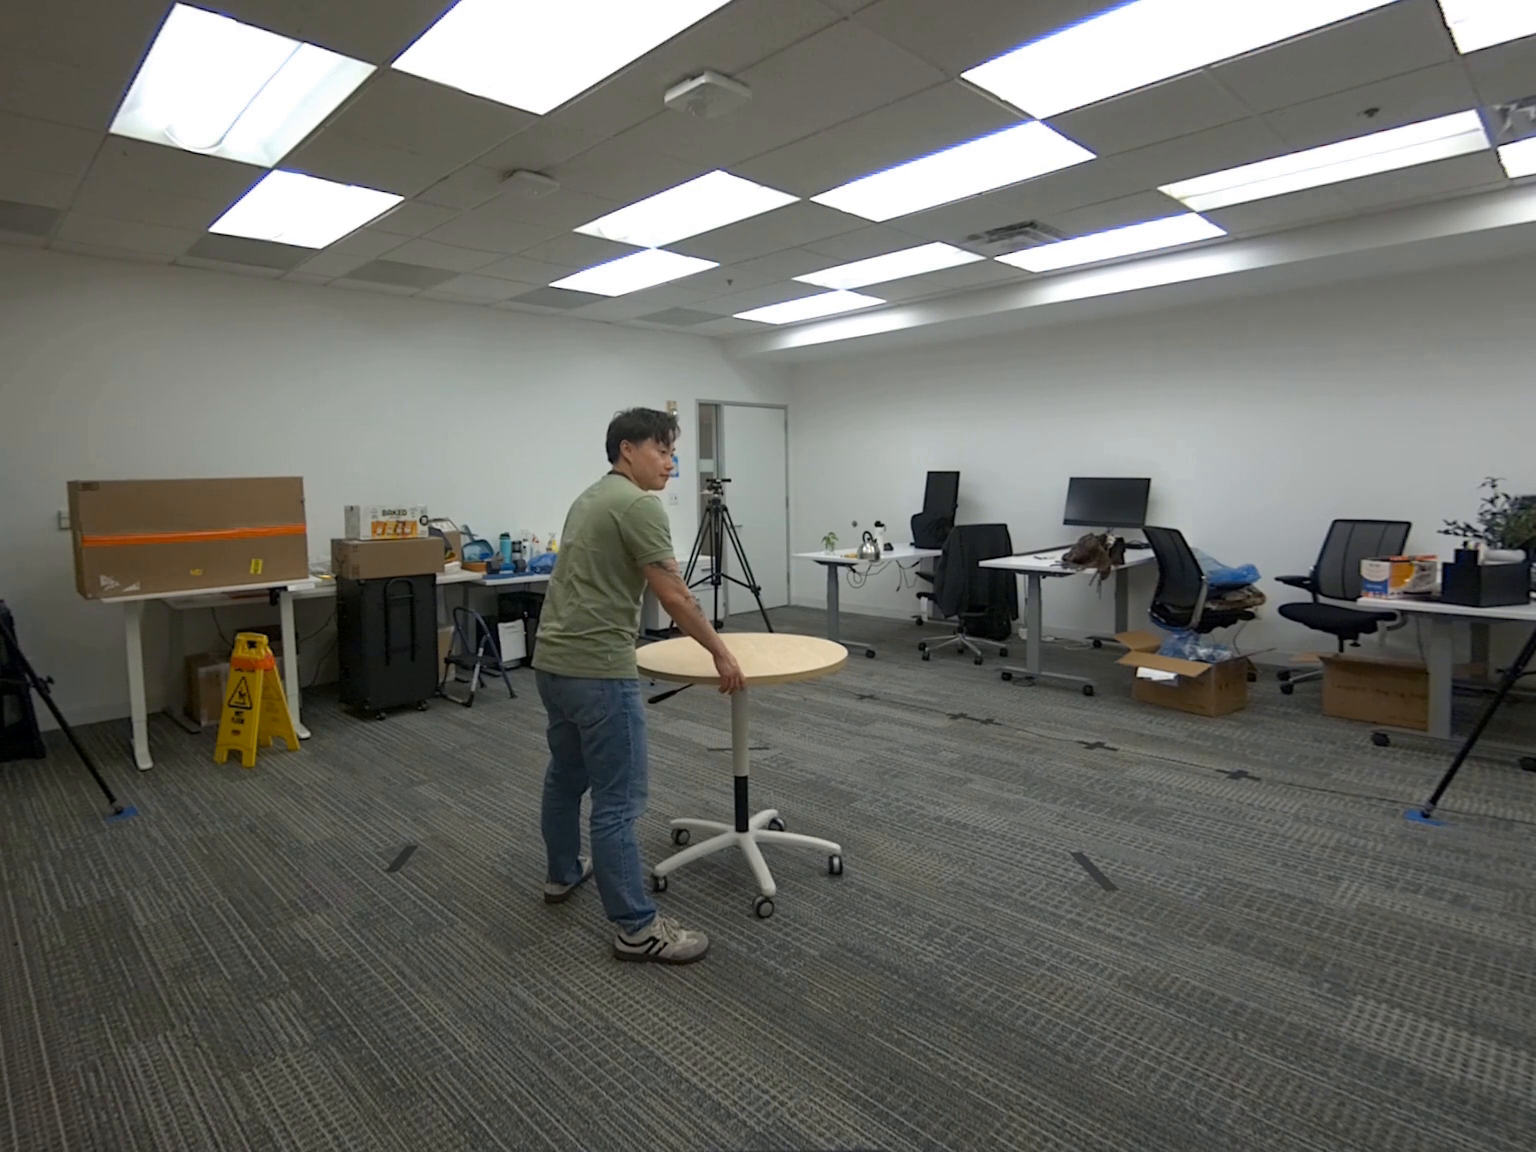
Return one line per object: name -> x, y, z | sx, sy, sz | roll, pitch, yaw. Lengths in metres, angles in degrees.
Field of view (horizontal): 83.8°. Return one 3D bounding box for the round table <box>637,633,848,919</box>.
round table -> -0.102, 0.661, 3.045 | 0.763, 0.791, 0.768 | -1, 5, -2
